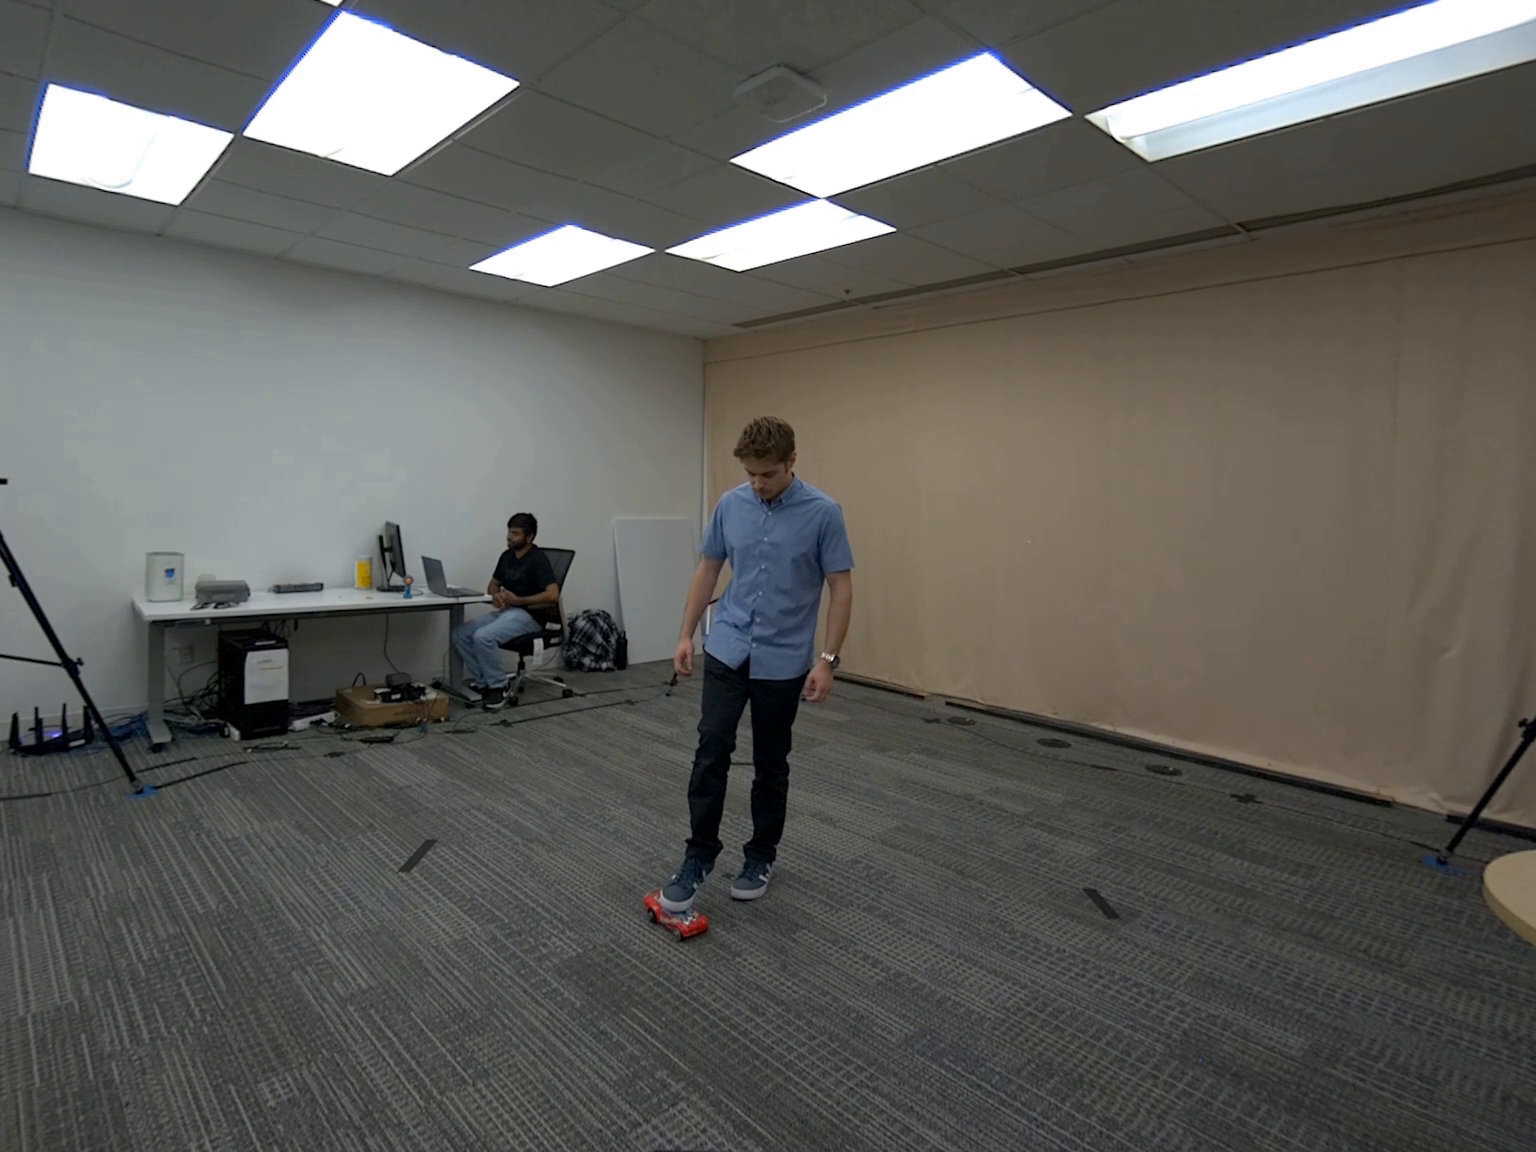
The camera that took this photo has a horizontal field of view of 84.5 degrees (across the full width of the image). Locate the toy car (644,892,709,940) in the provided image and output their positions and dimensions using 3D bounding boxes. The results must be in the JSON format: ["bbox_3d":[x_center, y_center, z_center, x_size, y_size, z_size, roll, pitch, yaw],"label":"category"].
[{"bbox_3d":[-0.322,1.105,2.744,0.127,0.082,0.262,-4,17,-38],"label":"toy car"}]
